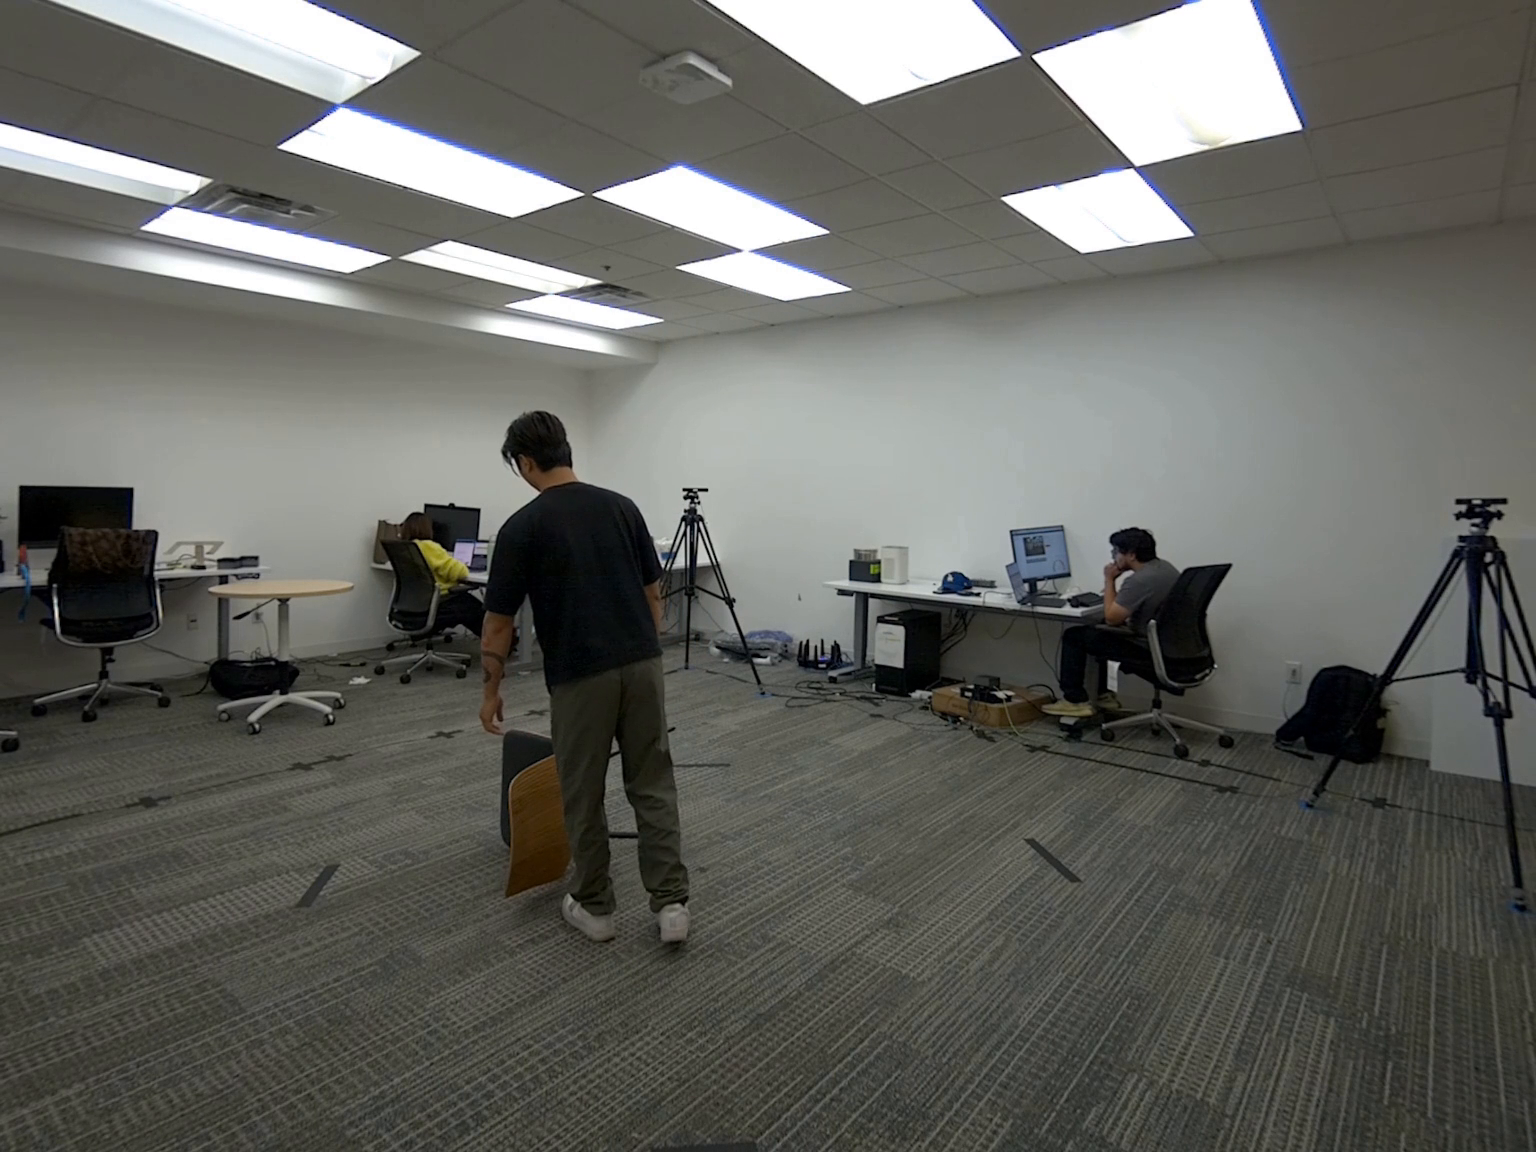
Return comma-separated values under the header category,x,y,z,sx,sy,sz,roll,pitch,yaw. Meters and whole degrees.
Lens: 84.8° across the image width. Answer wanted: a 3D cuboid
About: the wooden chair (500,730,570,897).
category,x,y,z,sx,sy,sz,roll,pitch,yaw
wooden chair,-0.822,0.823,3.170,0.539,0.476,0.854,4,5,31
